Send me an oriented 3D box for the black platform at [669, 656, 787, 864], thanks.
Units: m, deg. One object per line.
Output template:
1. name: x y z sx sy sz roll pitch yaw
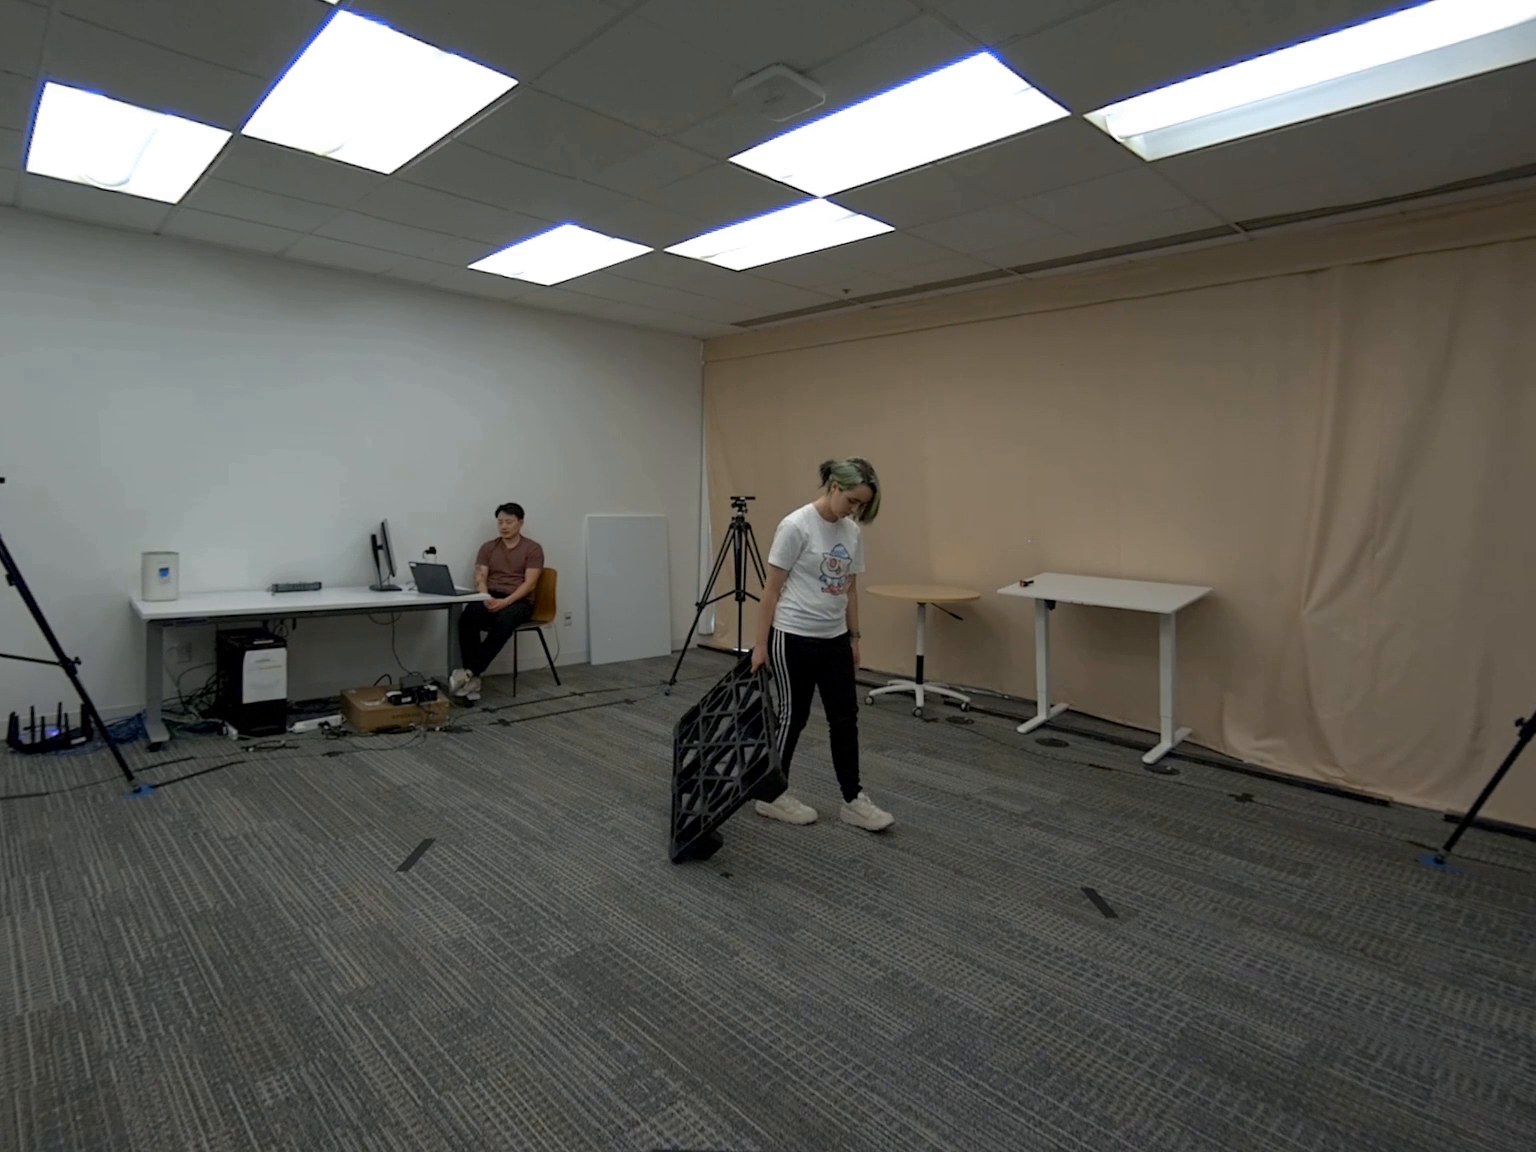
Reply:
1. black platform: -0.170 0.721 3.454 0.140 0.605 0.822 35 20 -21
